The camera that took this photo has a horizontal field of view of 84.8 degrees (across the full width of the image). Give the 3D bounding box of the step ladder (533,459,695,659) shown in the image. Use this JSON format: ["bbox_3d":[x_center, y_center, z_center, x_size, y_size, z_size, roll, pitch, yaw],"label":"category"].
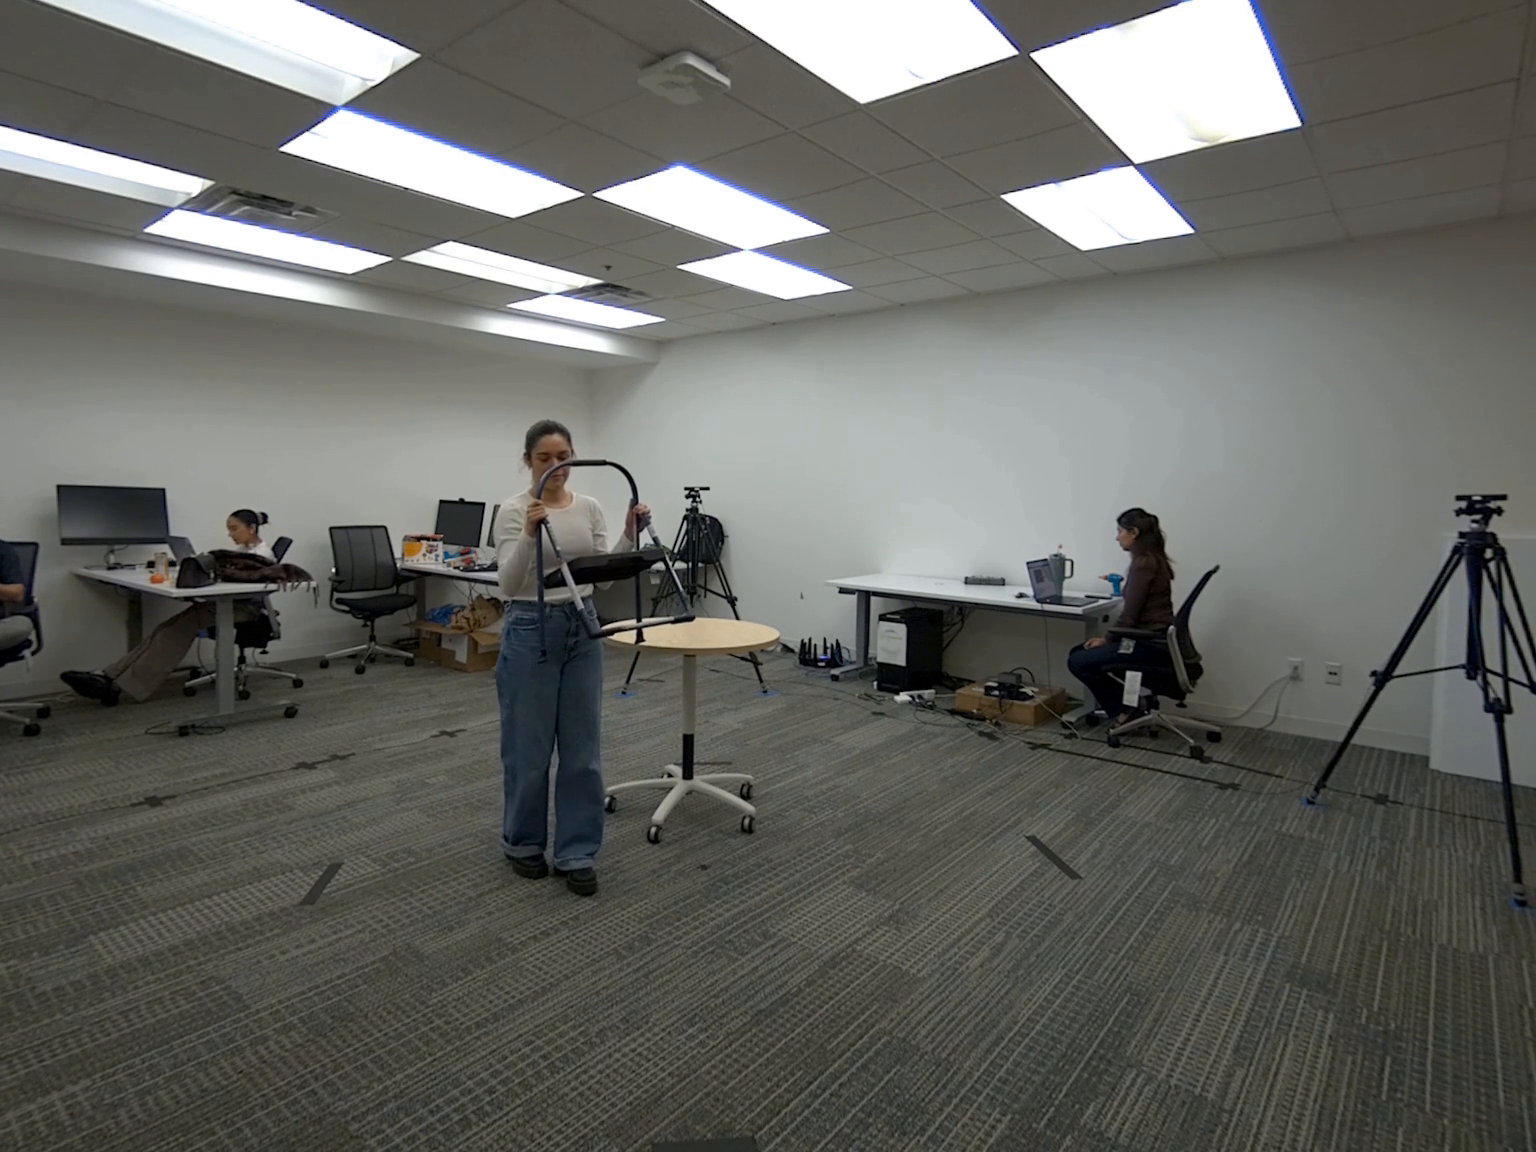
[{"bbox_3d":[-0.586,-0.079,2.830,0.418,0.613,0.355,-7,-12,-45],"label":"step ladder"}]
